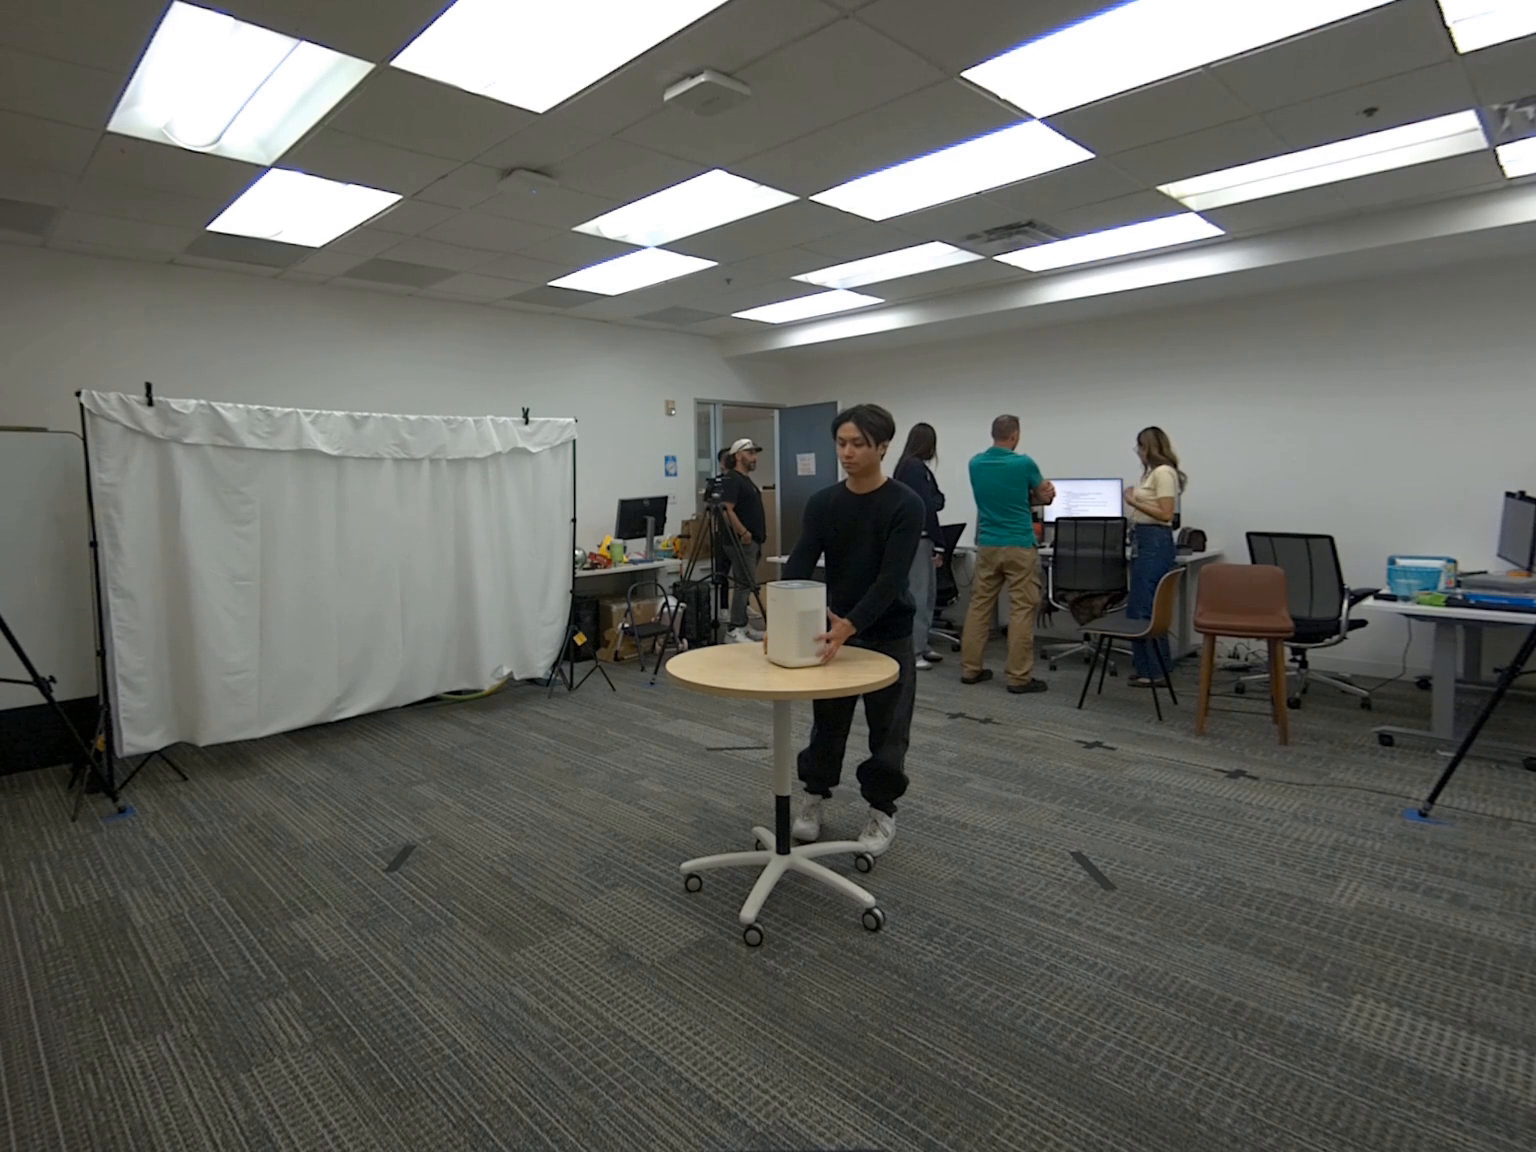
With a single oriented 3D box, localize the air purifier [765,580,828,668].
[{"bbox_3d":[0.096,0.155,2.820,0.168,0.265,0.175,-2,4,-27],"label":"air purifier"}]
